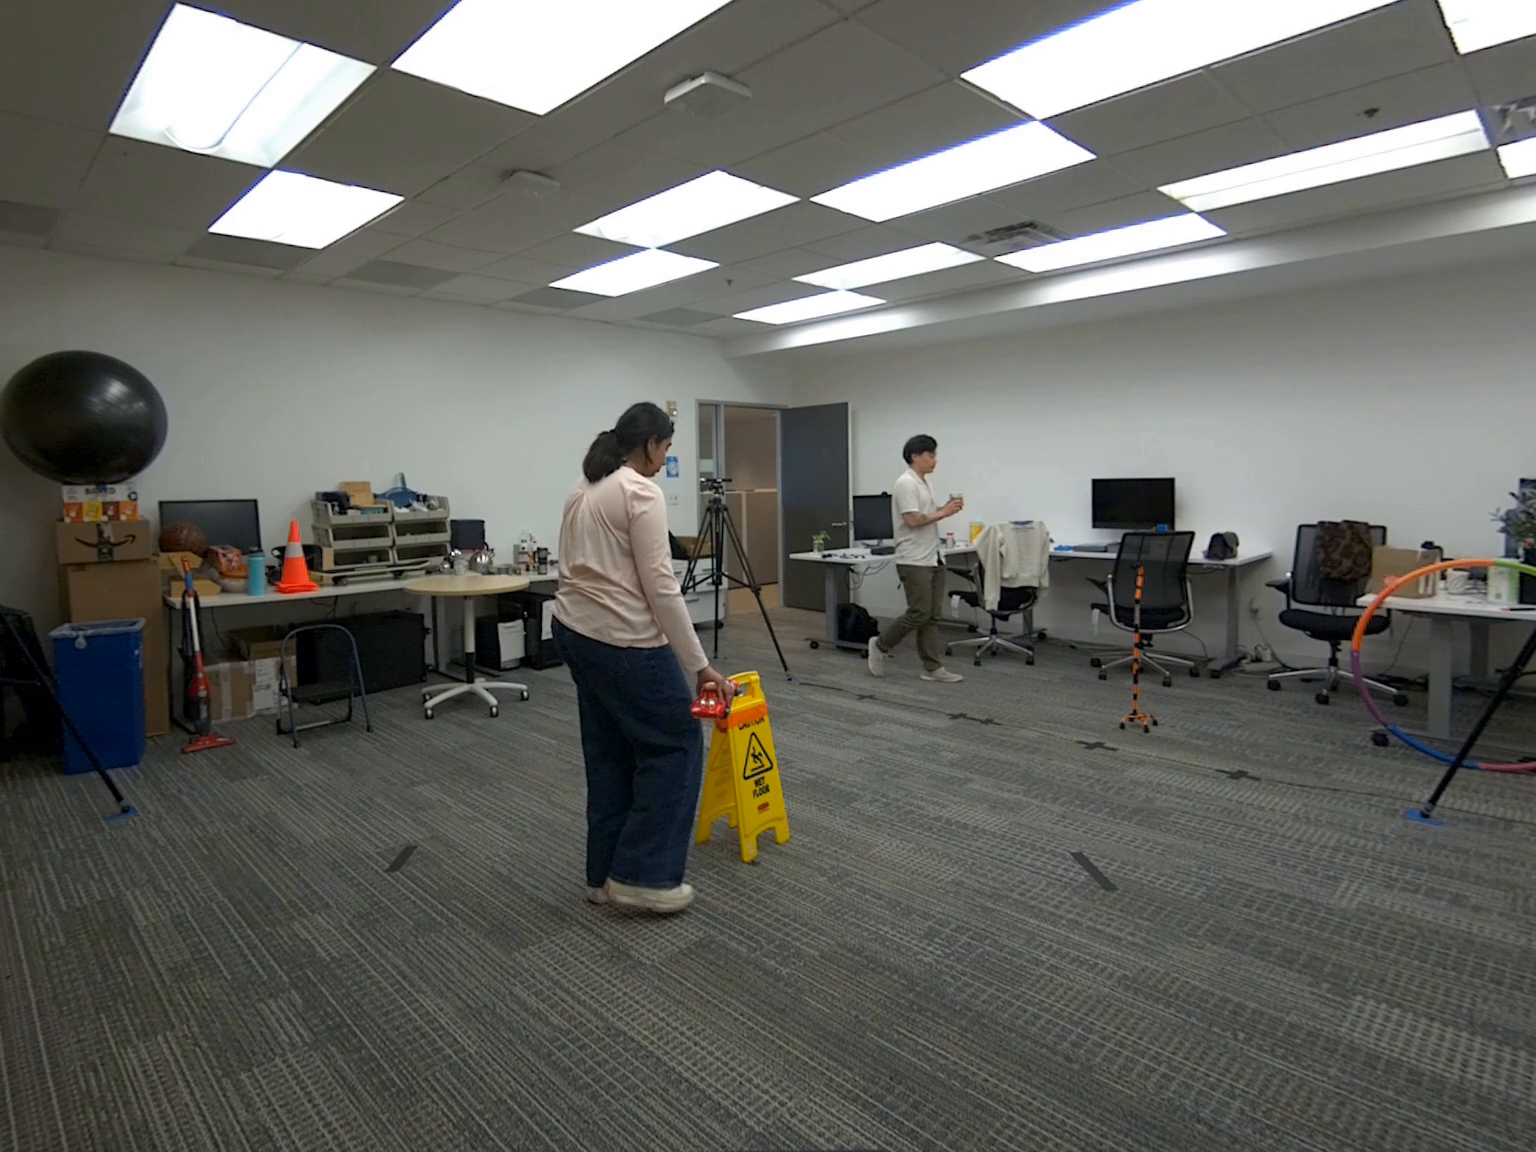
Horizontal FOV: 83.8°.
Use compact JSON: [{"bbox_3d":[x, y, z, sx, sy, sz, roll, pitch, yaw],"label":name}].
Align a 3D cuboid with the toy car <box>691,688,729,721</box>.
[{"bbox_3d":[-0.168,0.396,2.701,0.132,0.083,0.253,3,8,12],"label":"toy car"}]
